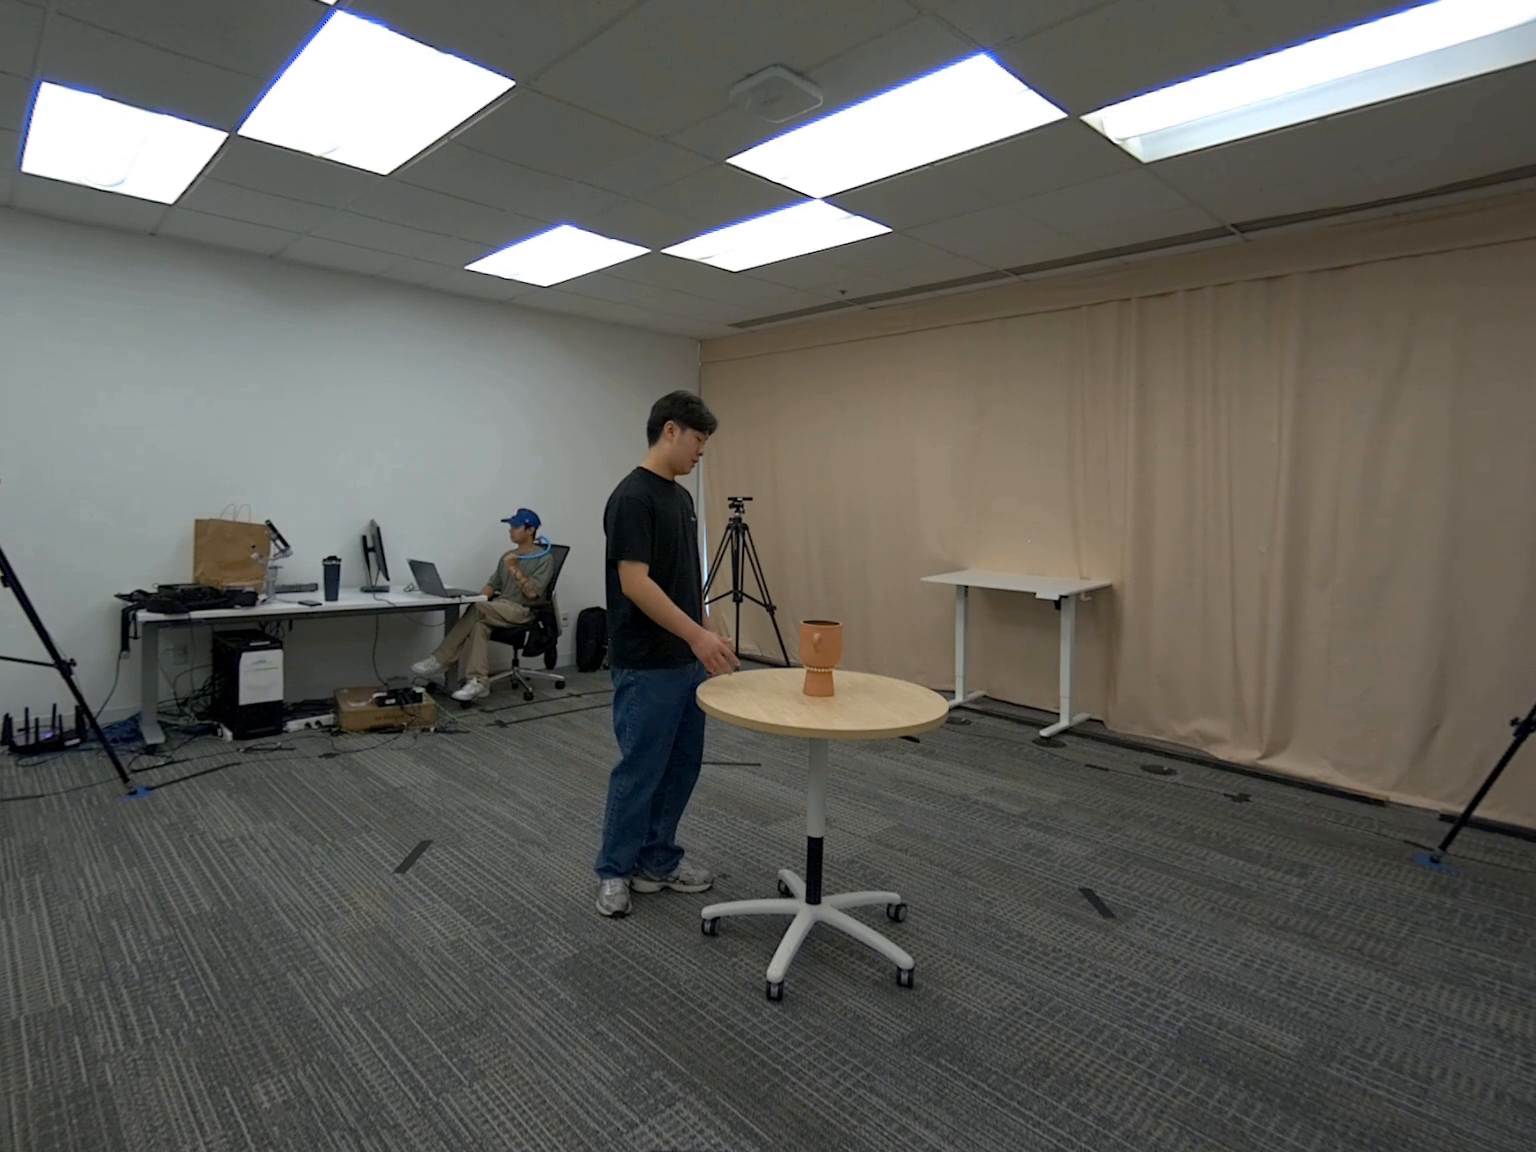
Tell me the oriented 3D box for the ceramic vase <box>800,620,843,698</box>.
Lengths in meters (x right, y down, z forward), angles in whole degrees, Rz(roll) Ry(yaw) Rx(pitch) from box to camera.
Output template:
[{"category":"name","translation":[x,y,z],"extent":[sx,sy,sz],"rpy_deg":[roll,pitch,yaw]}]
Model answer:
[{"category":"ceramic vase","translation":[0.147,0.255,2.593],"extent":[0.155,0.219,0.138],"rpy_deg":[-2,6,-37]}]
